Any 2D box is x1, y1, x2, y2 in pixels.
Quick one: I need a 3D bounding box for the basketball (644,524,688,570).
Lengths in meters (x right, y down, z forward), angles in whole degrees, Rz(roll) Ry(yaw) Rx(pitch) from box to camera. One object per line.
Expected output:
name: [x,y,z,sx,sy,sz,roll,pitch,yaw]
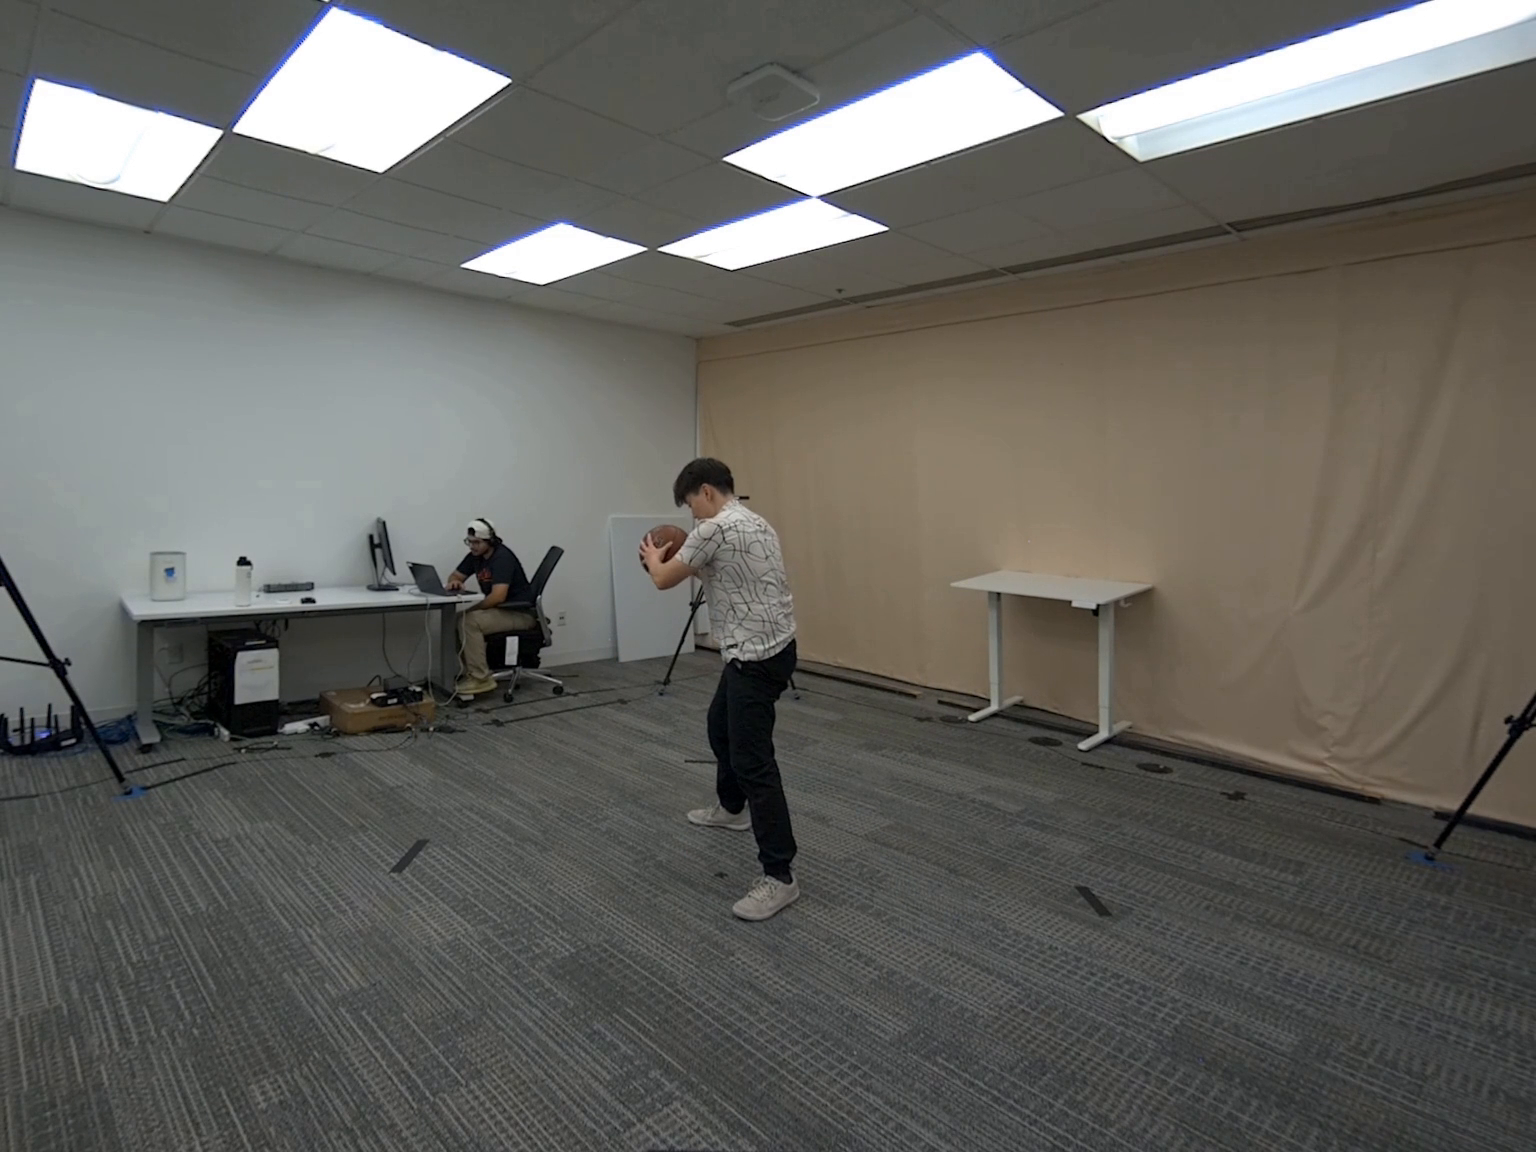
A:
basketball: [-0.448,-0.091,3.633,0.236,0.235,0.237,1,4,-1]
